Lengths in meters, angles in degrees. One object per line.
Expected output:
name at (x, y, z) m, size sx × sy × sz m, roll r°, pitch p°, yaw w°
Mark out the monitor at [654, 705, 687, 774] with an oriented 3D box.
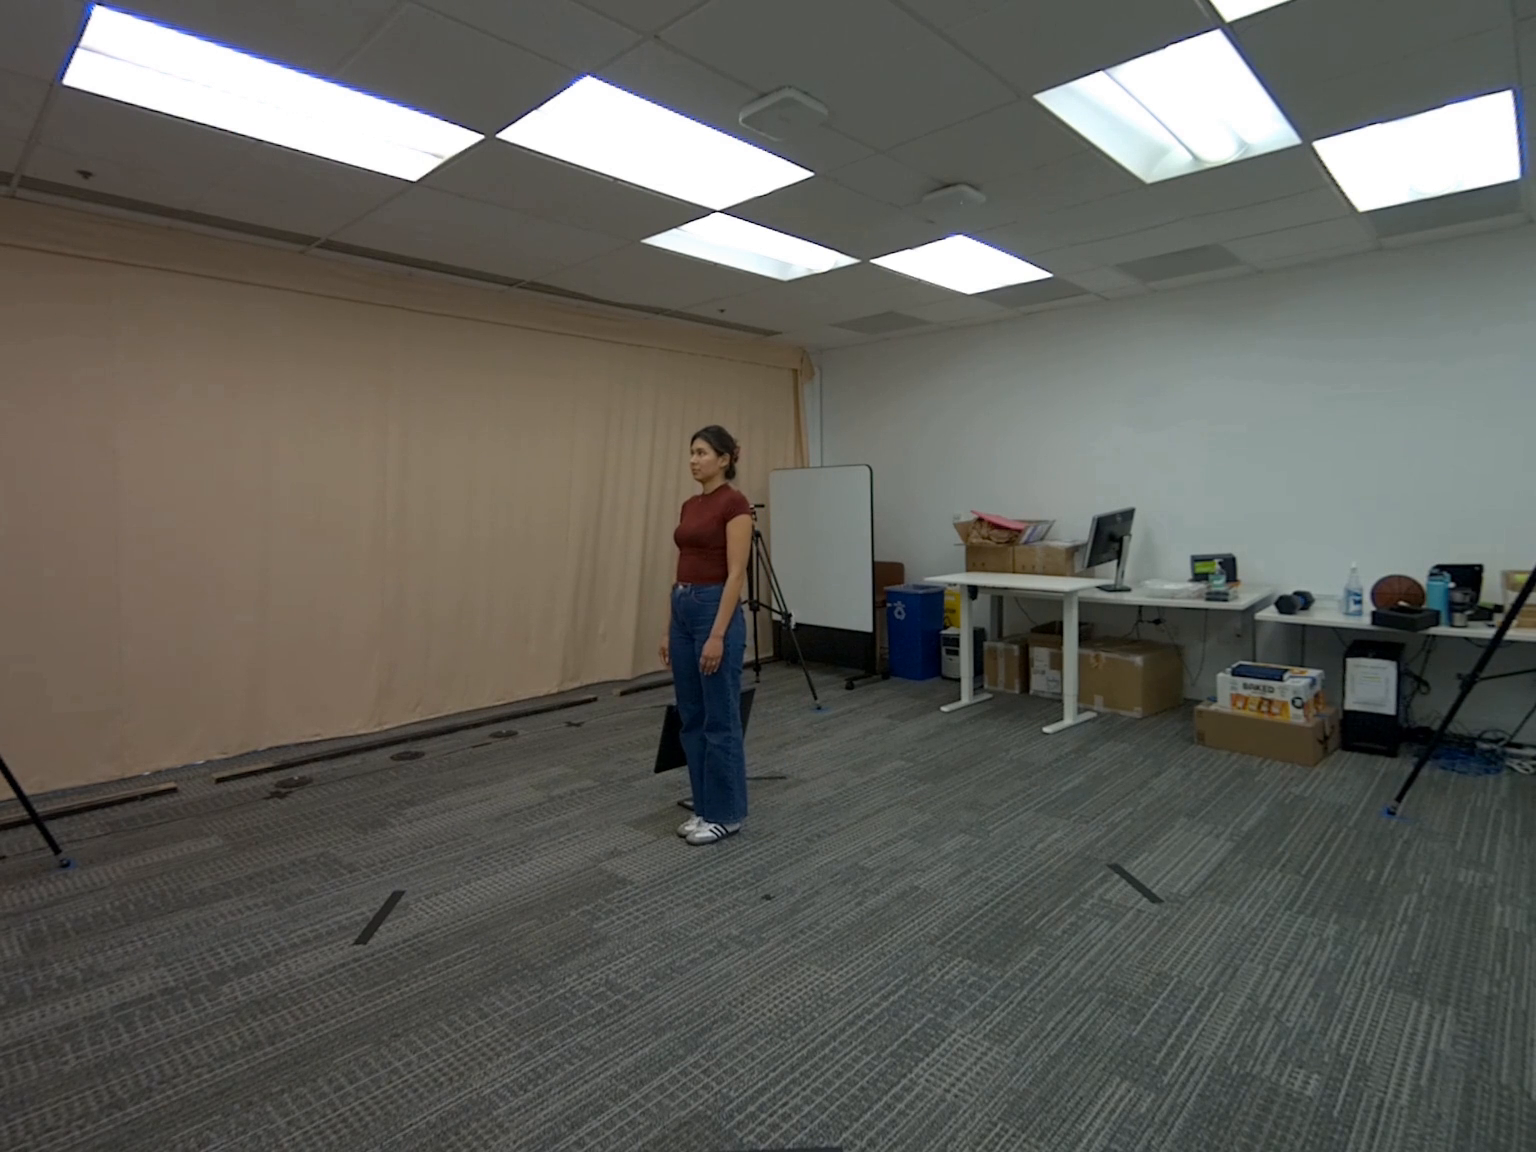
monitor at (-0.275, 0.812, 3.946) m, size 0.522 × 0.521 × 0.193 m, roll -4°, pitch 7°, yaw -44°
